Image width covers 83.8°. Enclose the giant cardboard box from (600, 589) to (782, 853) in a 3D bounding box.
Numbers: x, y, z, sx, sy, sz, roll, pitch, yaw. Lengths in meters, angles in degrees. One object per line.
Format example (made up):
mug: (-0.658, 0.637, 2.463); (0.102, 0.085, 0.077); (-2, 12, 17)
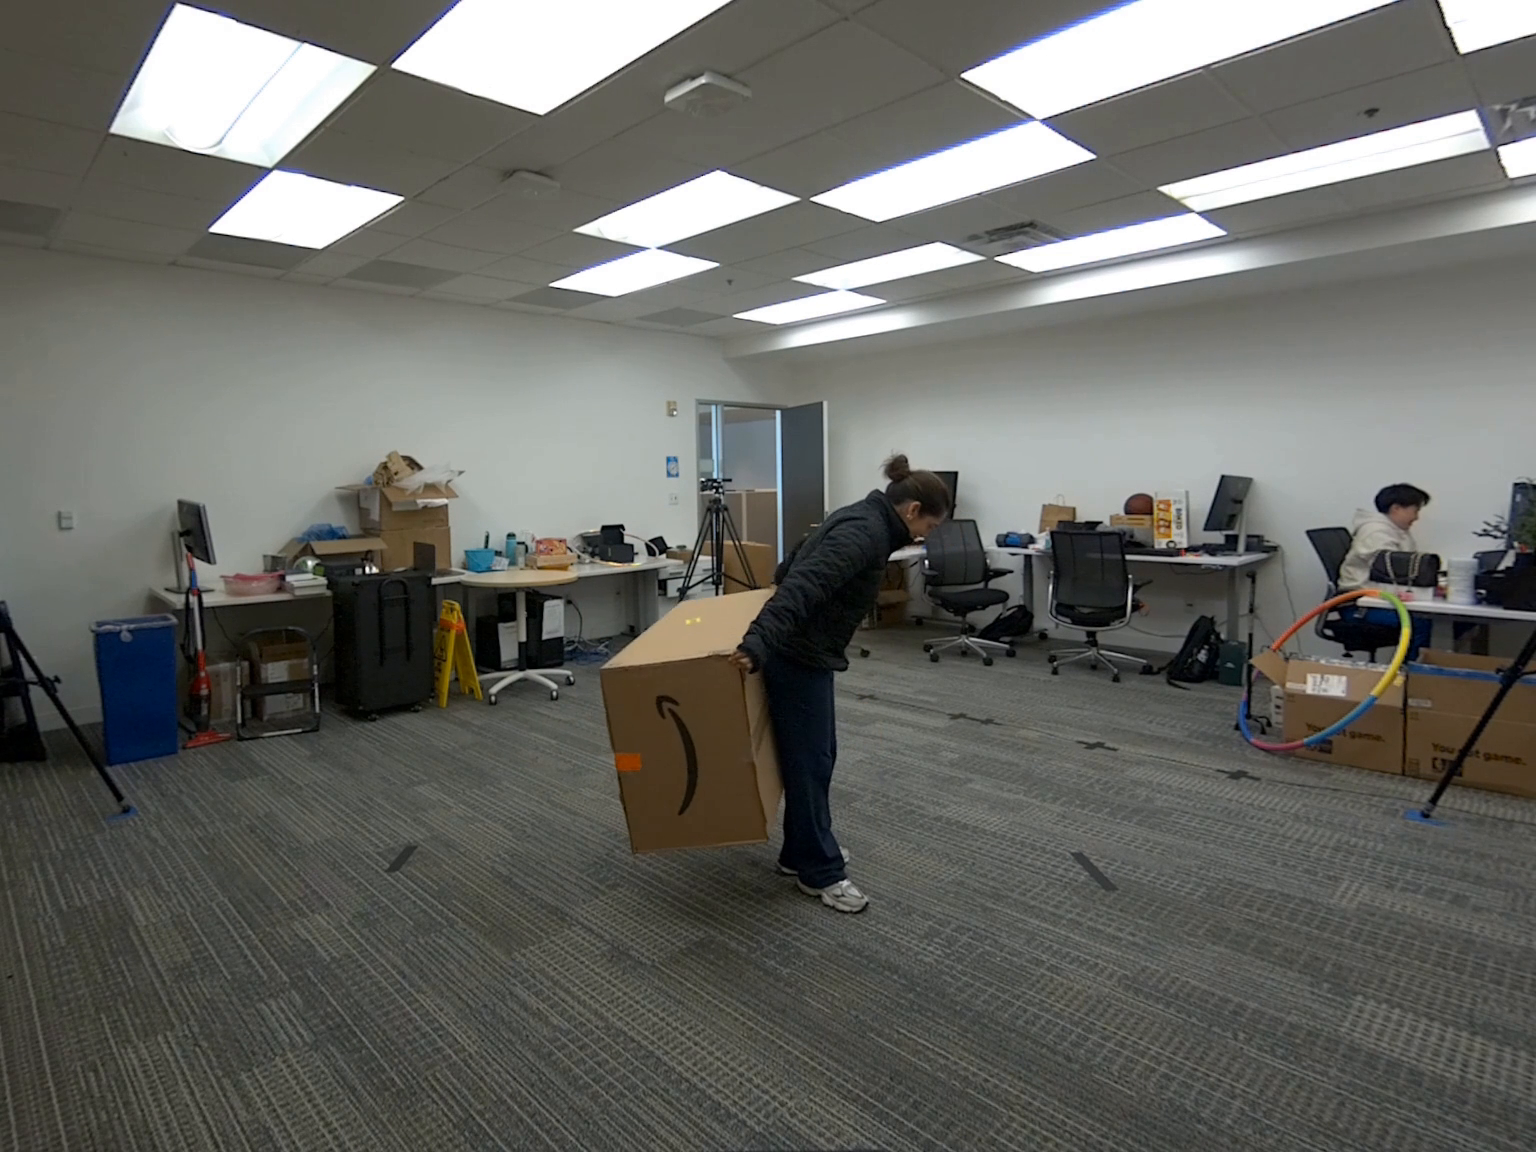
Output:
giant cardboard box: (-0.191, 0.439, 3.011); (0.430, 0.574, 1.024); (-6, 8, 9)
